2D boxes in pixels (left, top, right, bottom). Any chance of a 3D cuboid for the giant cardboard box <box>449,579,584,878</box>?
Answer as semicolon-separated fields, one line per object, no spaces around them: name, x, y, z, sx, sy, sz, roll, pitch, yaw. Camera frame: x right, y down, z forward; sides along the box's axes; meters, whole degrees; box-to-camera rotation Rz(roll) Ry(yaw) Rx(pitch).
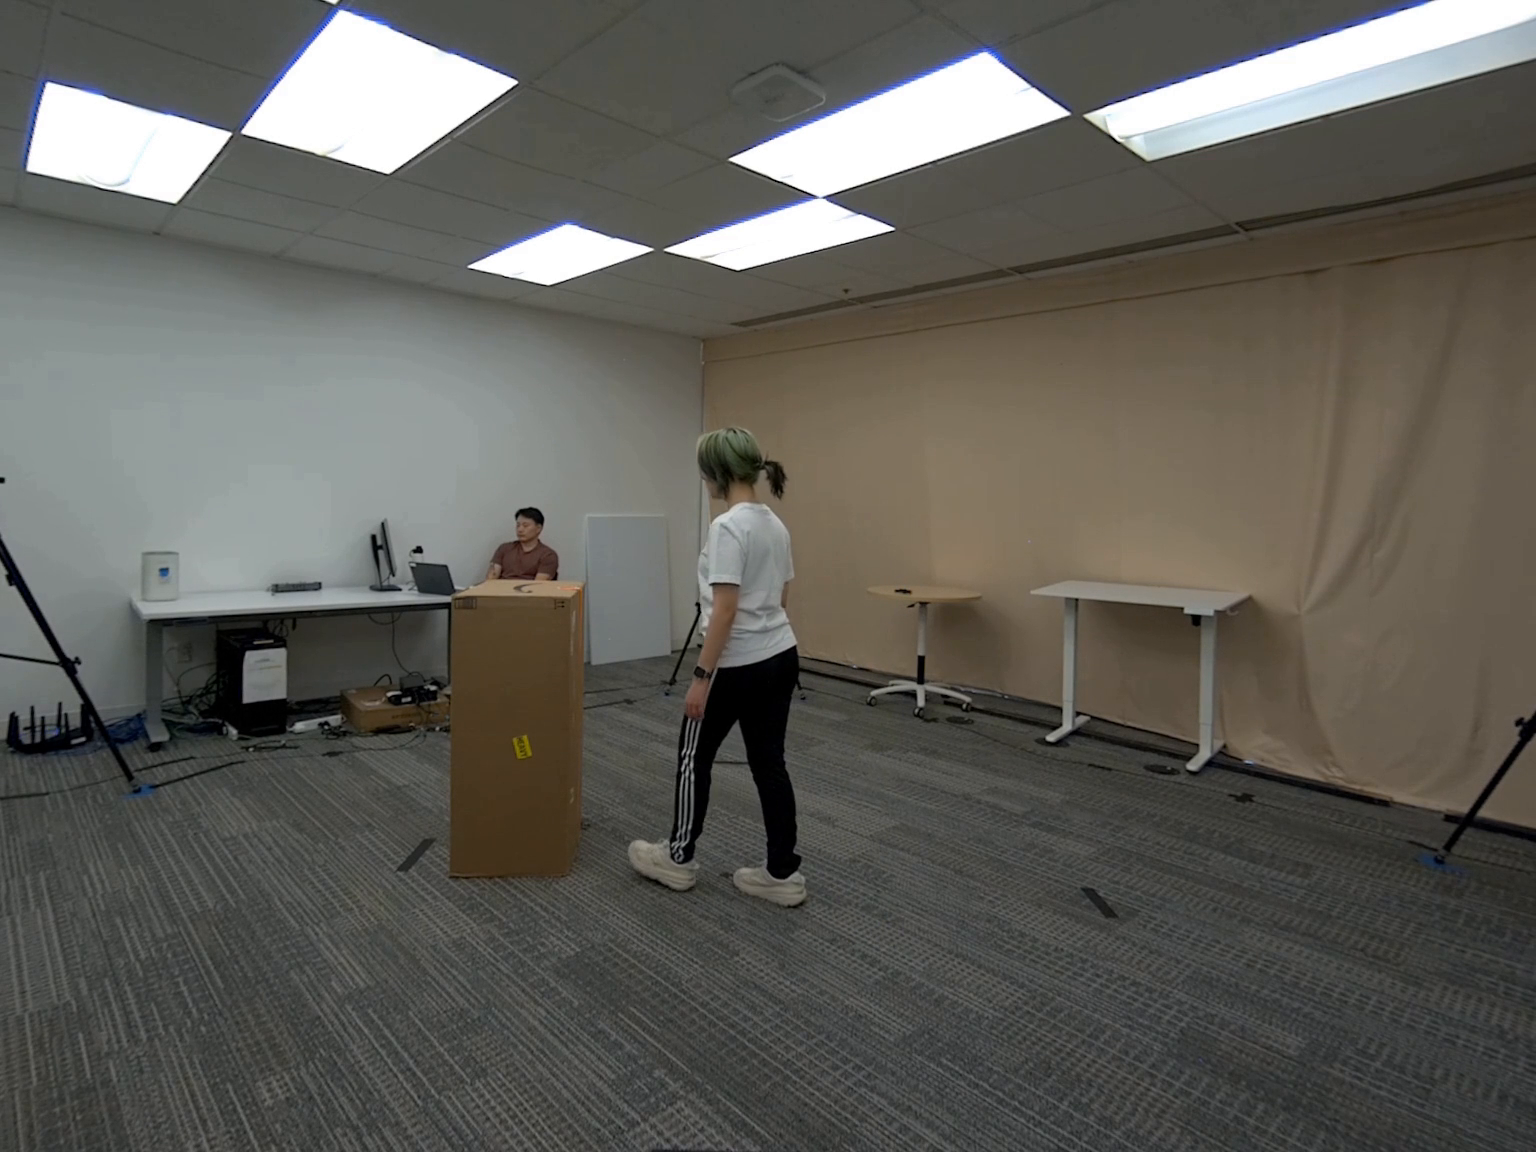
giant cardboard box;-0.967;0.560;3.307;0.444;1.025;0.588;0;3;-7
